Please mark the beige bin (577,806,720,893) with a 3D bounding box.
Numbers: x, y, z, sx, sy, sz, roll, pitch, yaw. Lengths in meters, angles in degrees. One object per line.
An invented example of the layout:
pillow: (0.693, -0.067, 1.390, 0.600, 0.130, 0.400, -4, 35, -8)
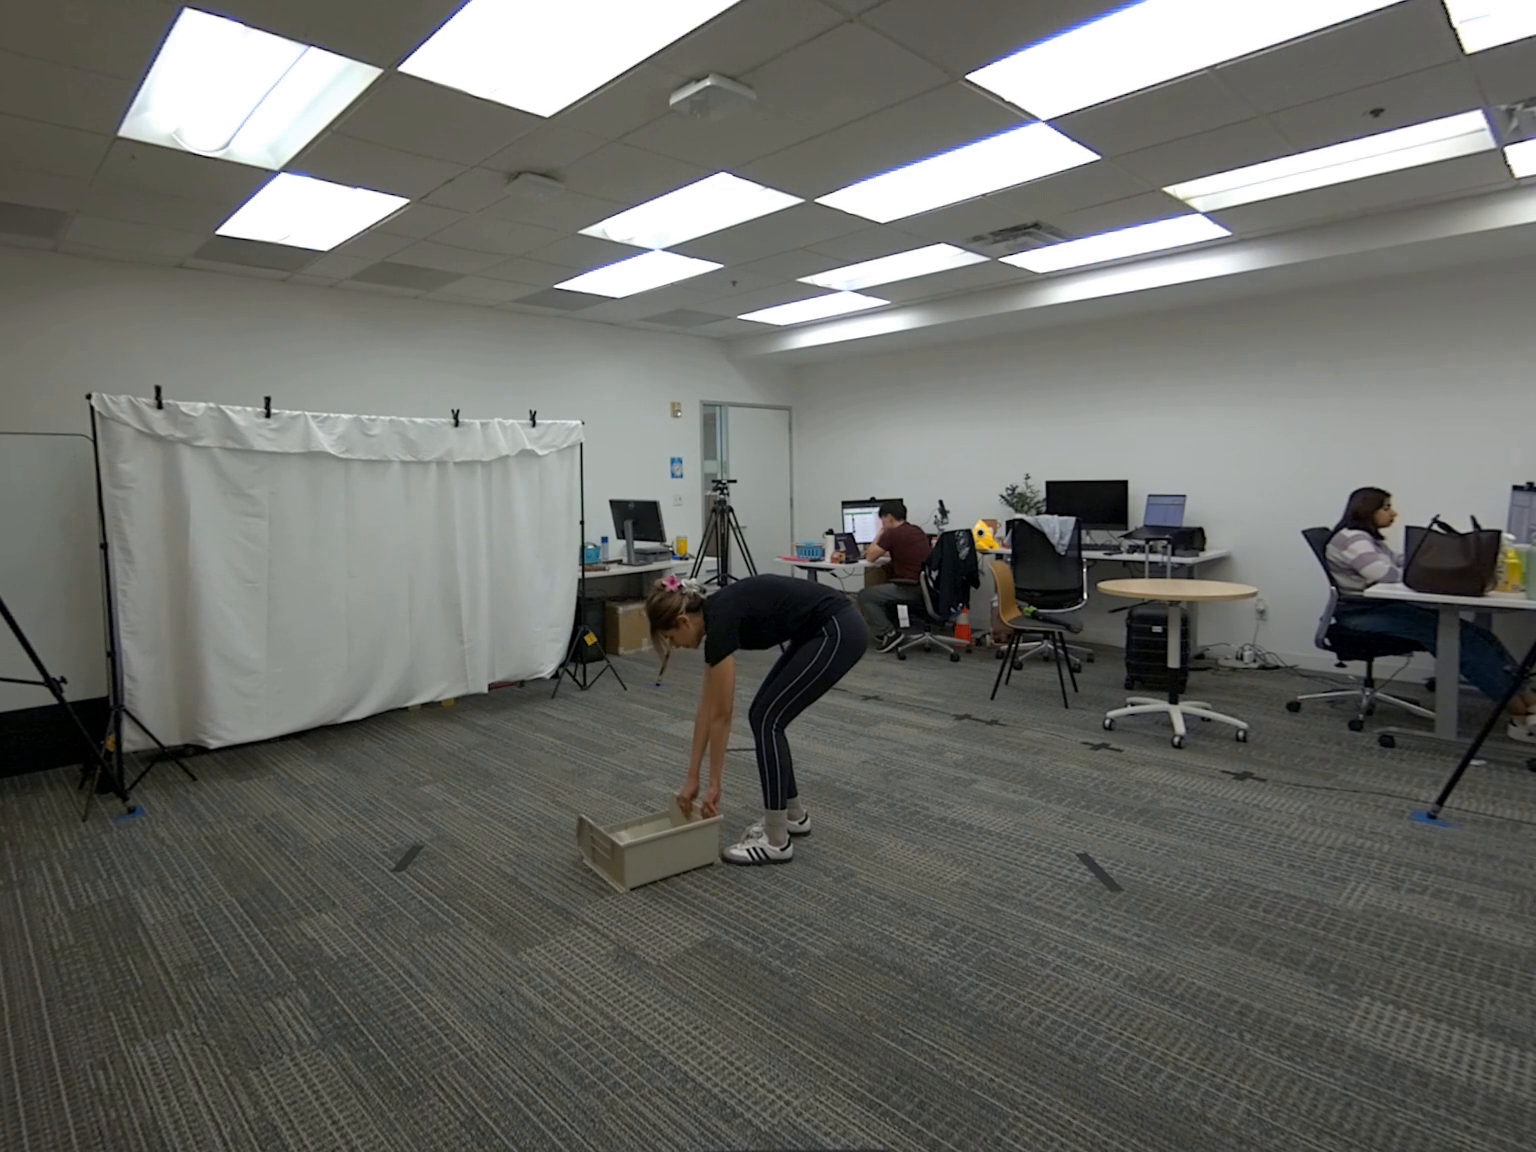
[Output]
beige bin: (-0.439, 0.962, 3.149, 0.411, 0.188, 0.389, -4, 8, -36)
